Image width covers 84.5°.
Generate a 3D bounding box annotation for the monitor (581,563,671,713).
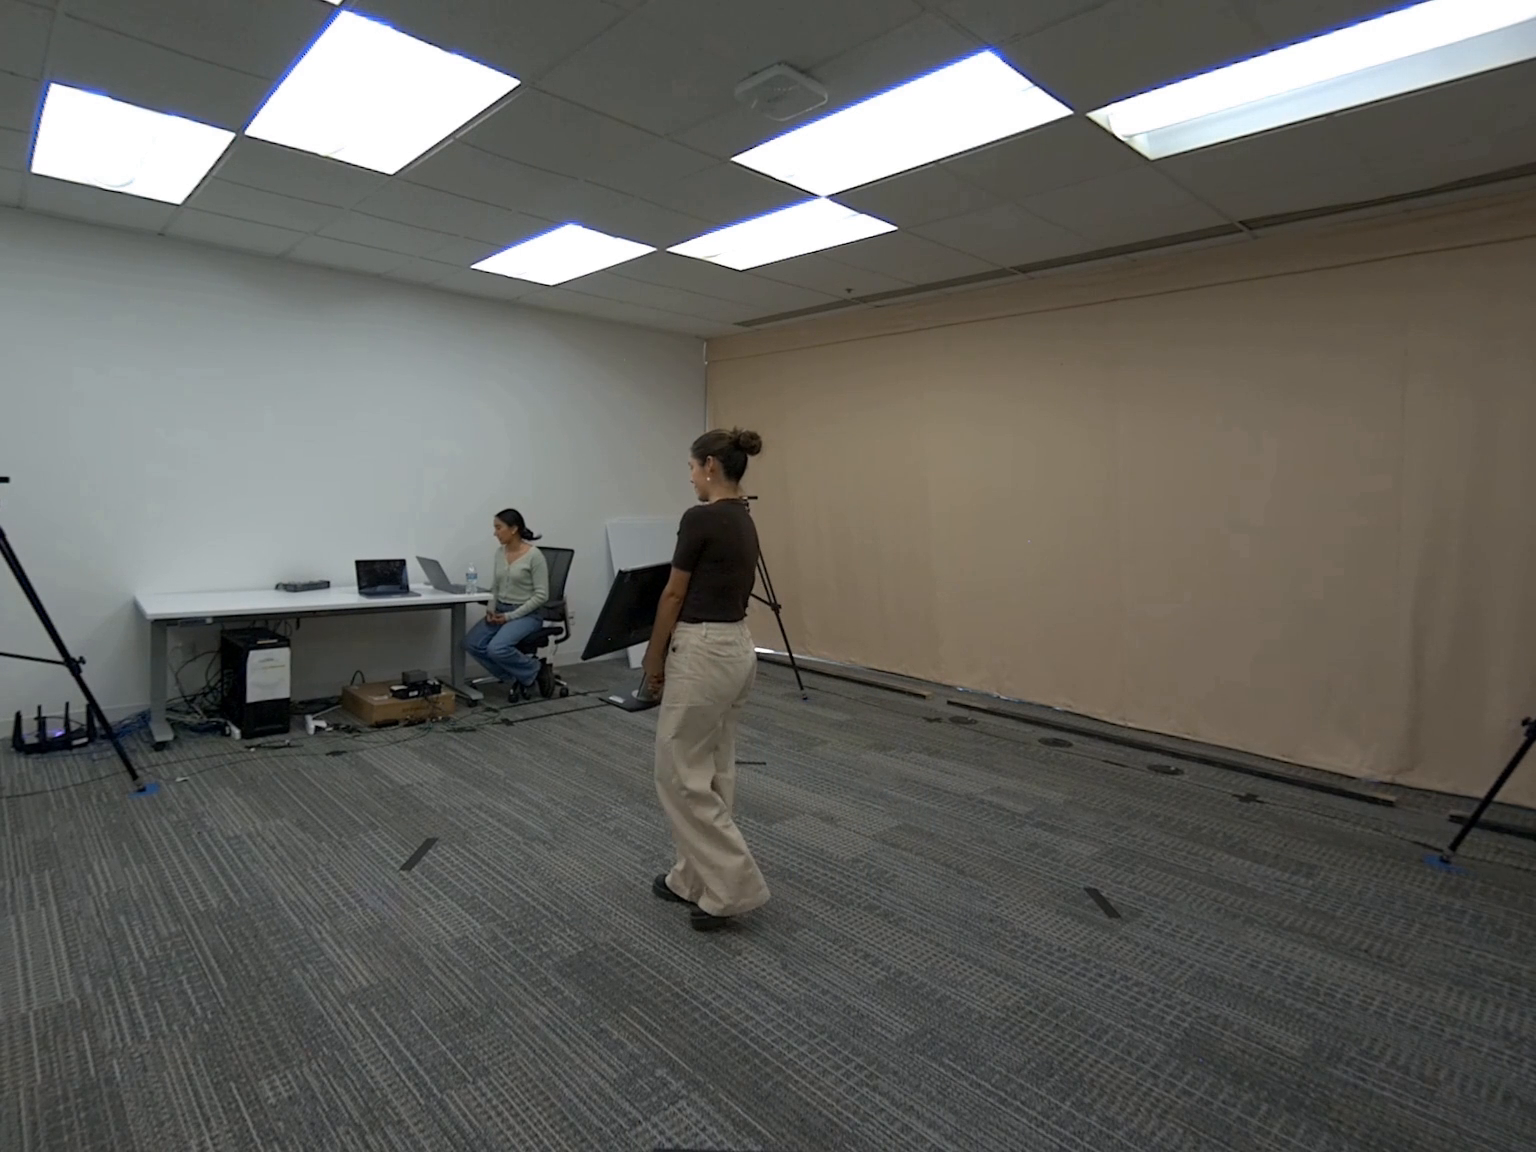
[{"bbox_3d":[-0.398,0.192,2.884,0.191,0.518,0.531,20,16,23],"label":"monitor"}]
